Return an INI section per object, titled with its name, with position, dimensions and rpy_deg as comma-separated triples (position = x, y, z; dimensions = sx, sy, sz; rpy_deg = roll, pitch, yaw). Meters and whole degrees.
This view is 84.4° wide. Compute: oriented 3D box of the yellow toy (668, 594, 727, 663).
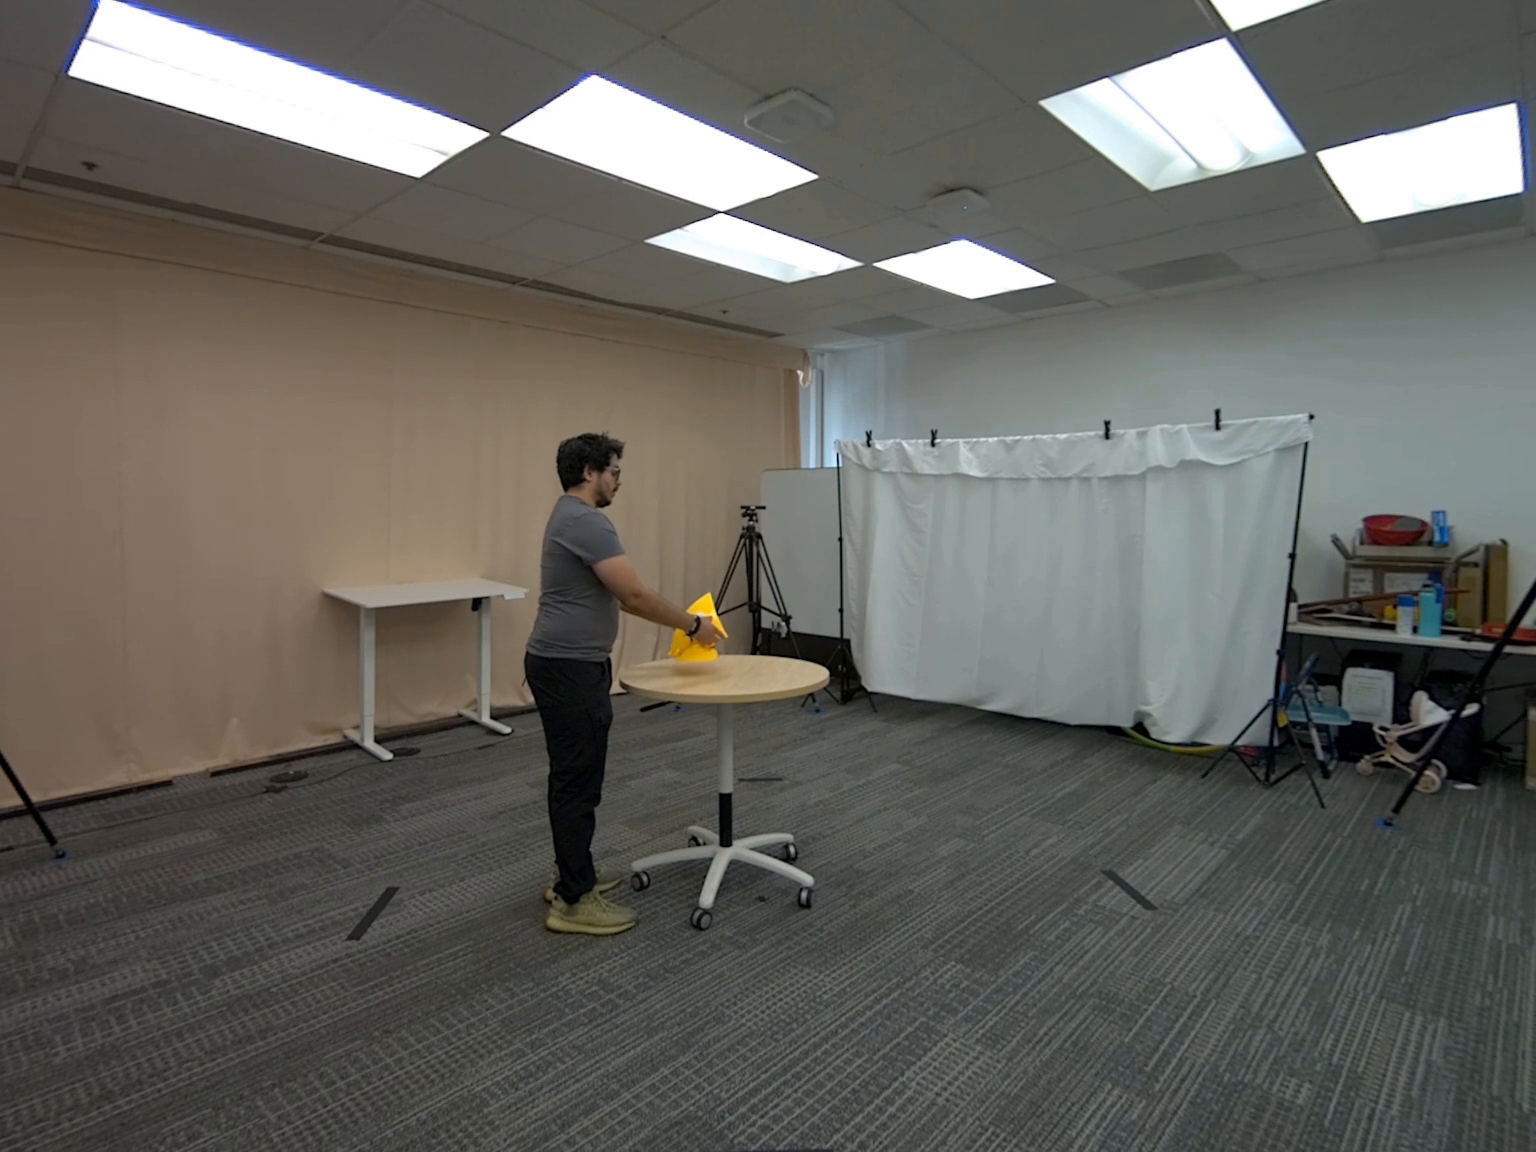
[yellow toy]
position = -0.262, 0.182, 3.072
dimensions = 0.189, 0.230, 0.209
rpy_deg = -2, 4, -21
